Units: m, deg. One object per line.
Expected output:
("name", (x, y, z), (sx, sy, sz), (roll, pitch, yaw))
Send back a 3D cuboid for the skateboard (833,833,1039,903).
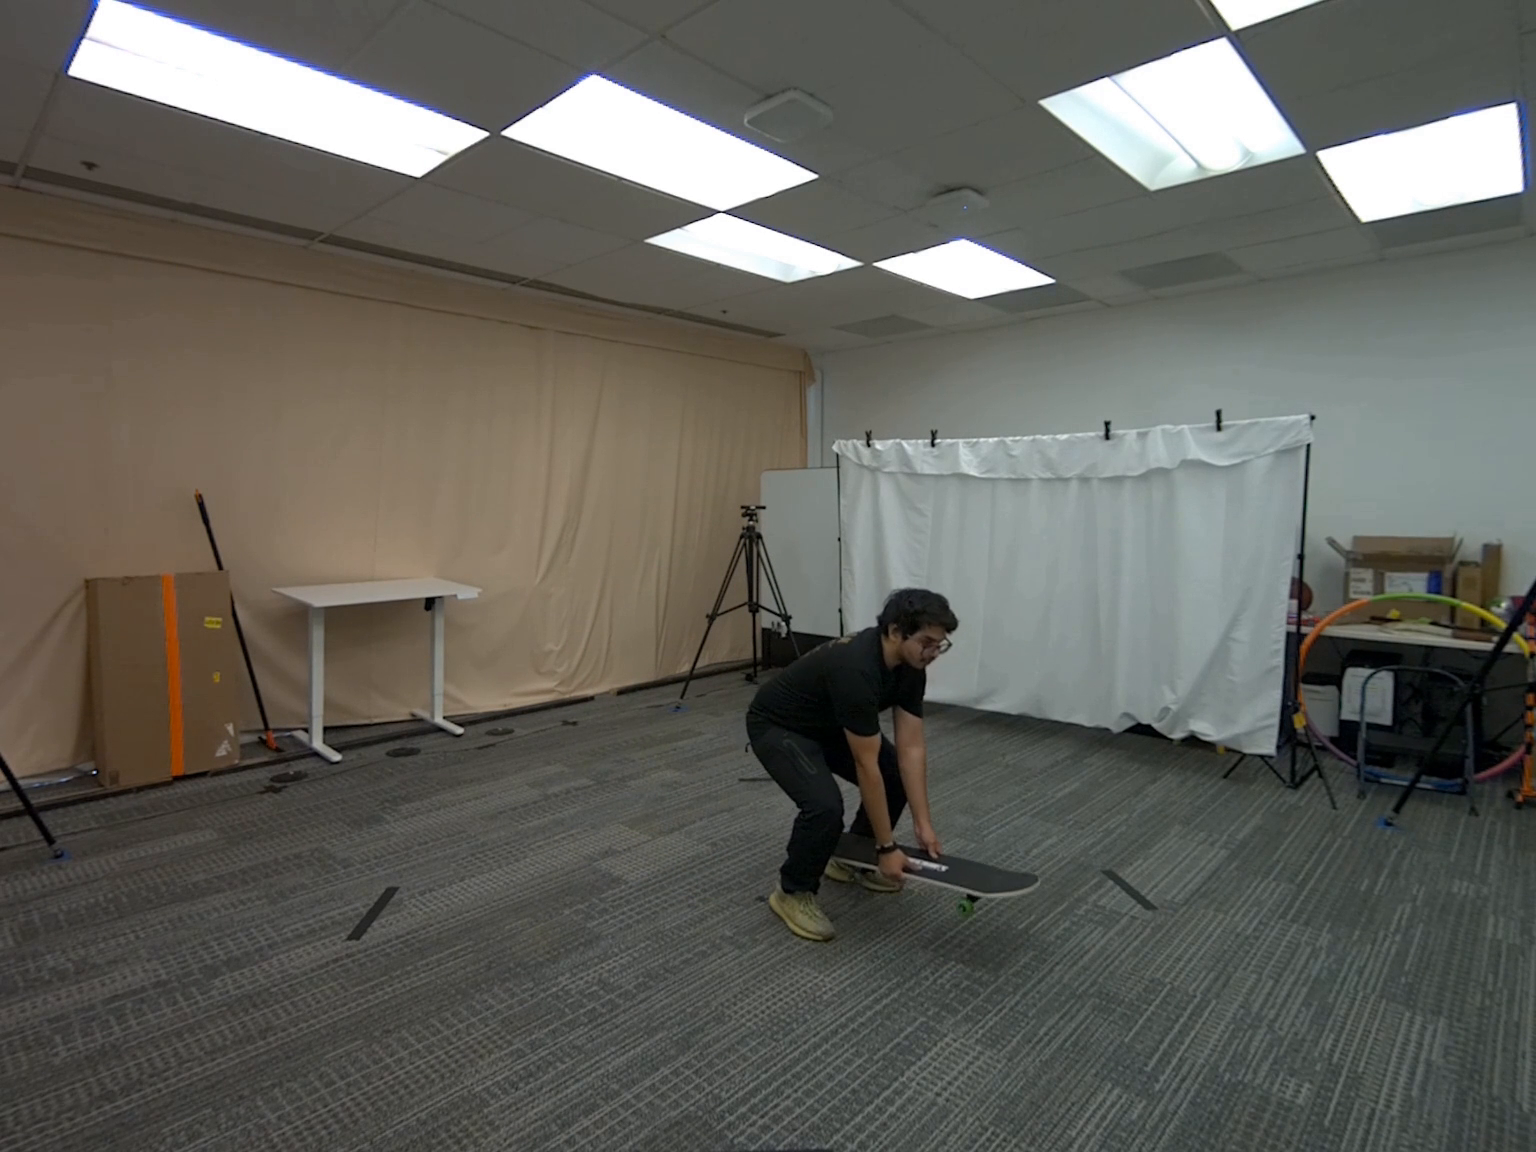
("skateboard", (0.496, 0.951, 2.698), (0.810, 0.110, 0.188), (-3, 5, 44))
